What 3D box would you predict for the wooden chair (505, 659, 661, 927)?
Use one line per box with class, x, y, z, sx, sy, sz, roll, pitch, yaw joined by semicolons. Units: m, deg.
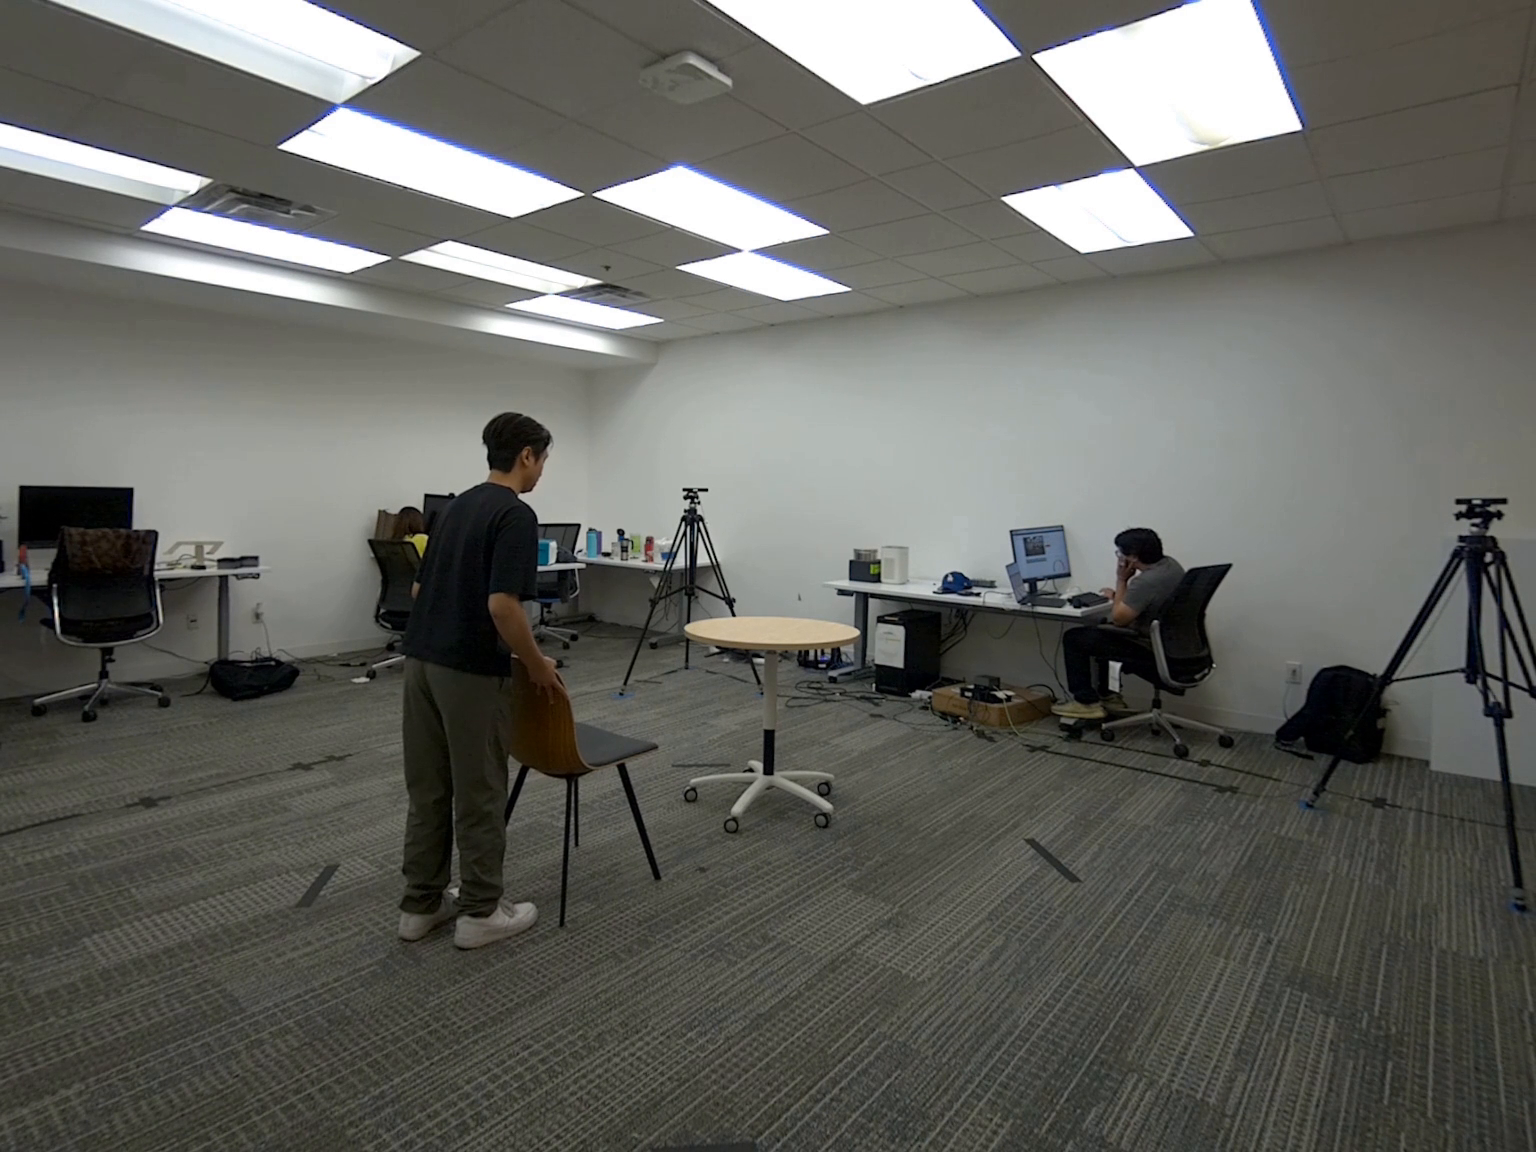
wooden chair;-0.688;0.646;2.970;0.494;0.872;0.509;3;8;38
